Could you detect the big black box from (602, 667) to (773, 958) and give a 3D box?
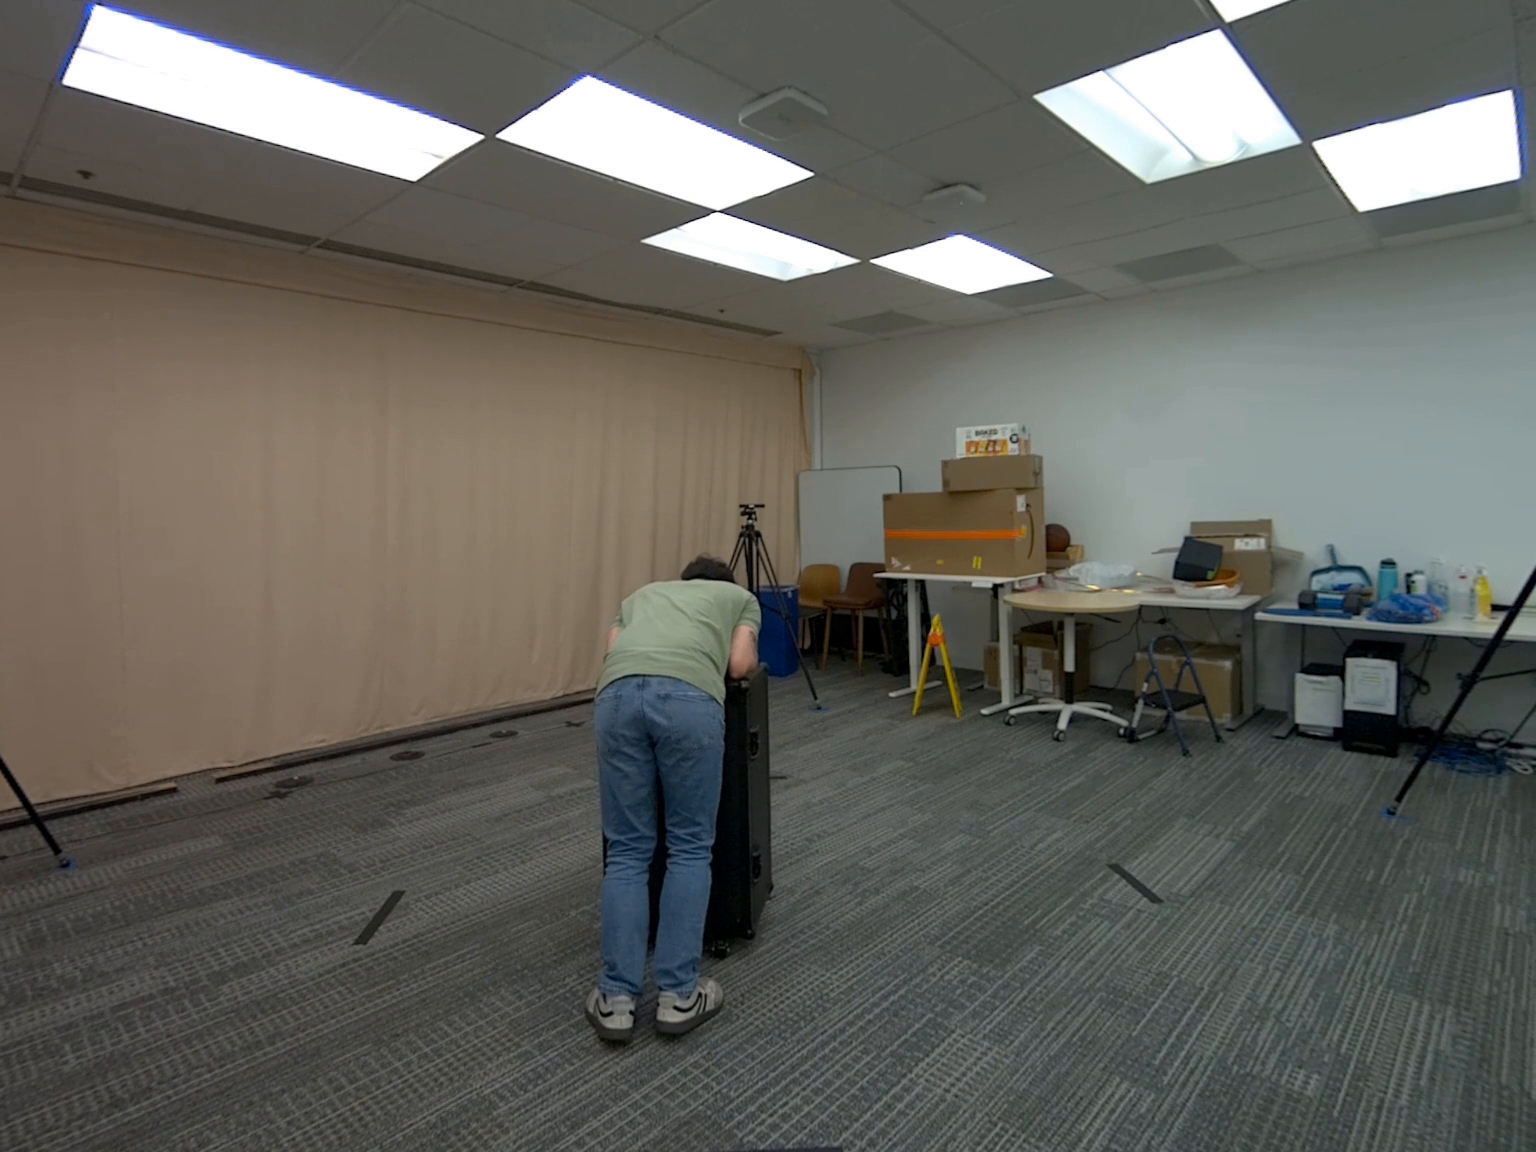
[{"bbox_3d":[-0.258,0.747,2.785,0.529,0.860,0.391,0,2,13],"label":"big black box"}]
